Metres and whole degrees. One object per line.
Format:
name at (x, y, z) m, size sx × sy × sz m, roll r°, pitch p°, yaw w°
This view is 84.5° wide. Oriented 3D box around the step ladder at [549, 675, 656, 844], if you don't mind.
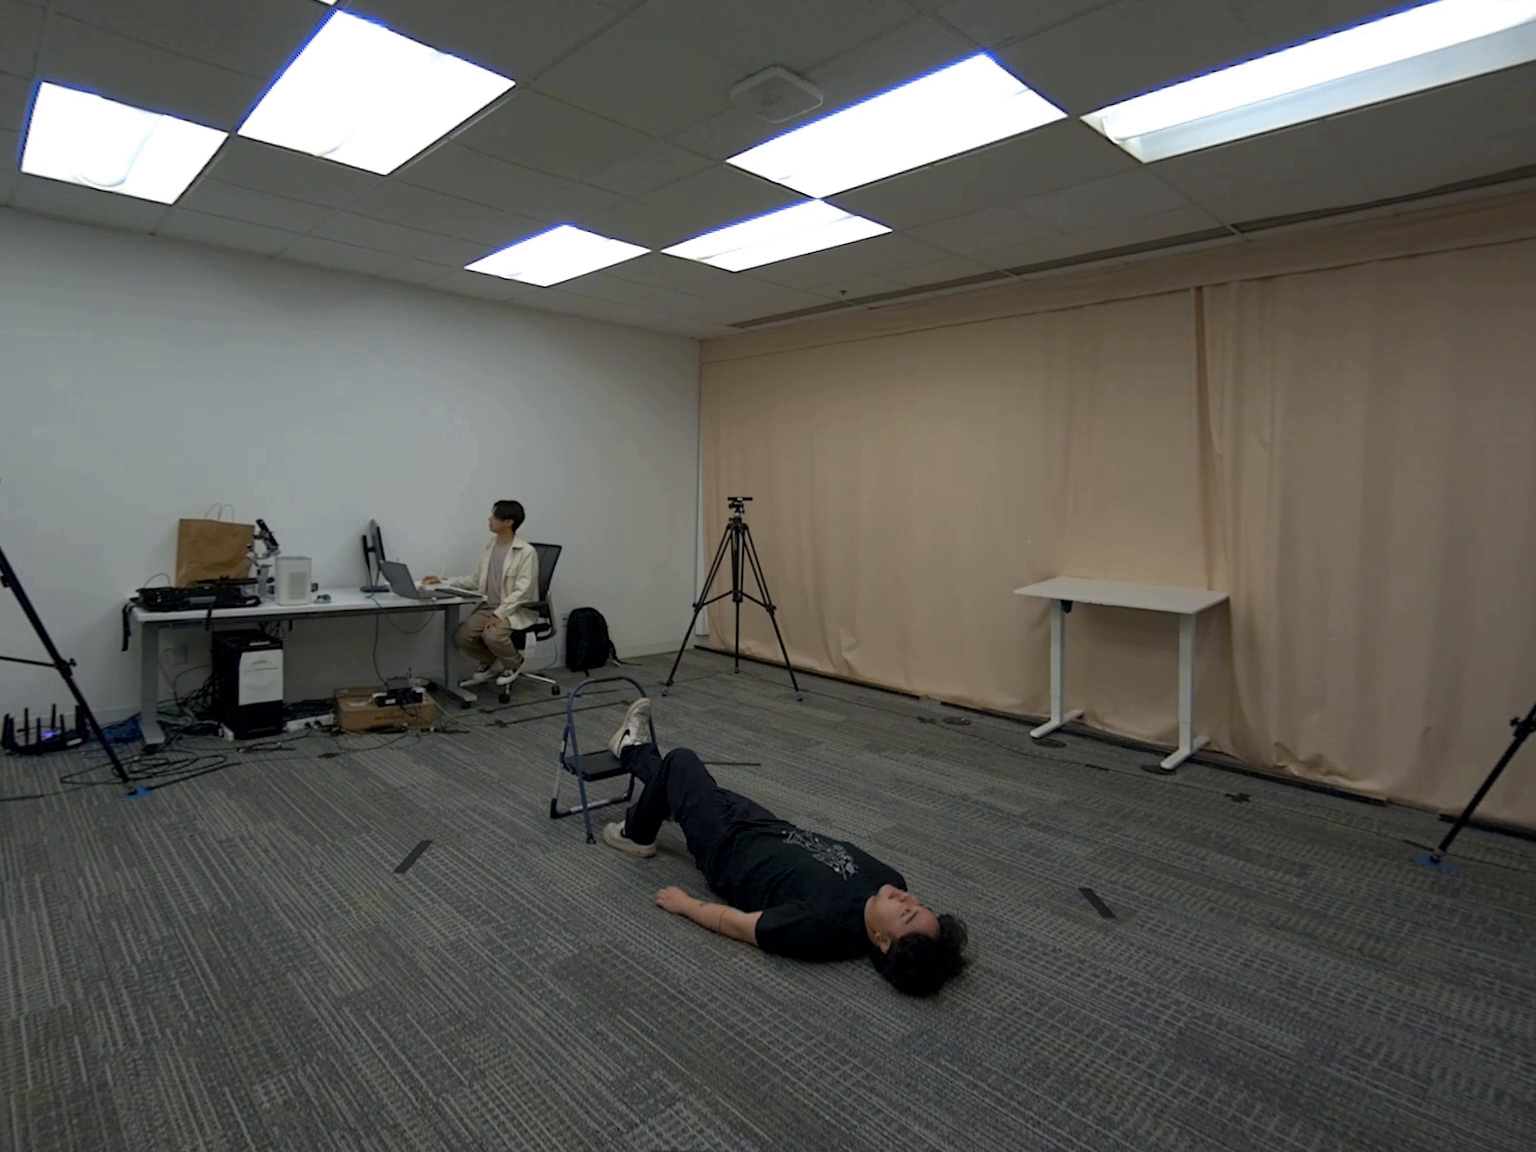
step ladder at (-0.678, 0.752, 3.619) m, size 0.420 × 0.605 × 0.358 m, roll -1°, pitch 4°, yaw -43°
